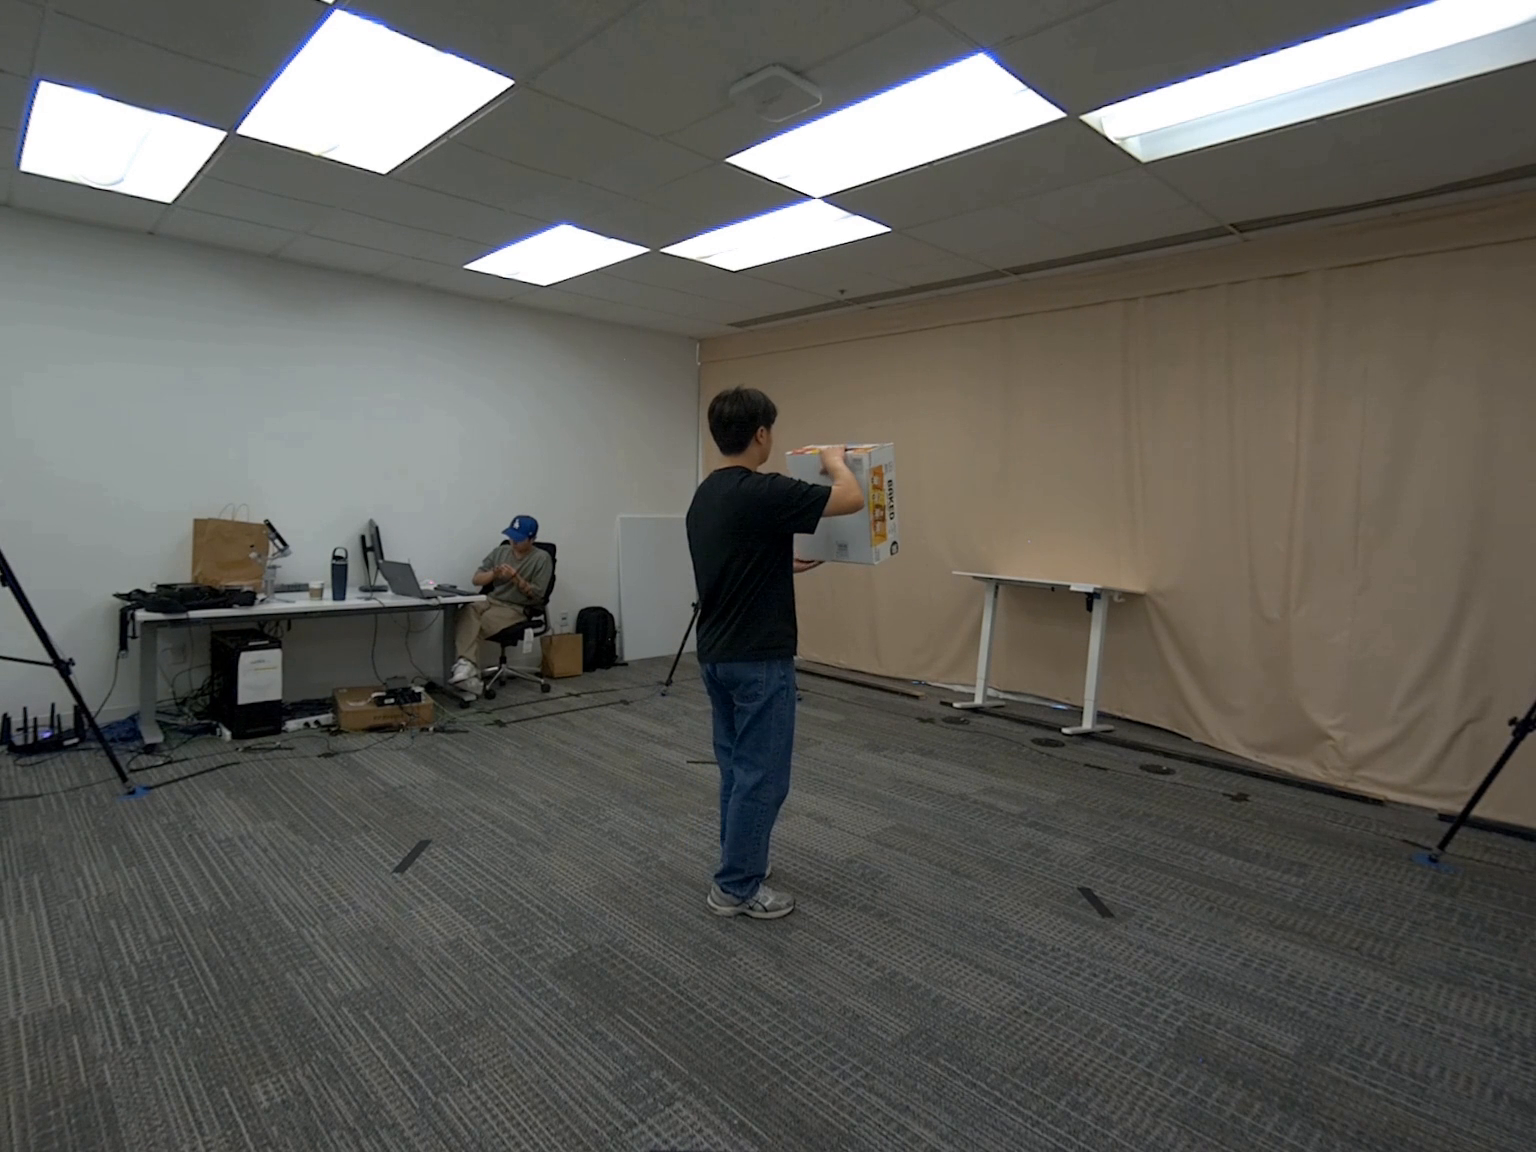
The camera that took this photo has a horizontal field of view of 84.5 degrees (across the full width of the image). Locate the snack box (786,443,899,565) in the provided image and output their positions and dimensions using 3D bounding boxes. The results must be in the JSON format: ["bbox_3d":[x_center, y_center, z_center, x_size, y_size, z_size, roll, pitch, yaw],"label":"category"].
[{"bbox_3d":[0.270,-0.270,3.087,0.348,0.401,0.203,4,16,36],"label":"snack box"}]
